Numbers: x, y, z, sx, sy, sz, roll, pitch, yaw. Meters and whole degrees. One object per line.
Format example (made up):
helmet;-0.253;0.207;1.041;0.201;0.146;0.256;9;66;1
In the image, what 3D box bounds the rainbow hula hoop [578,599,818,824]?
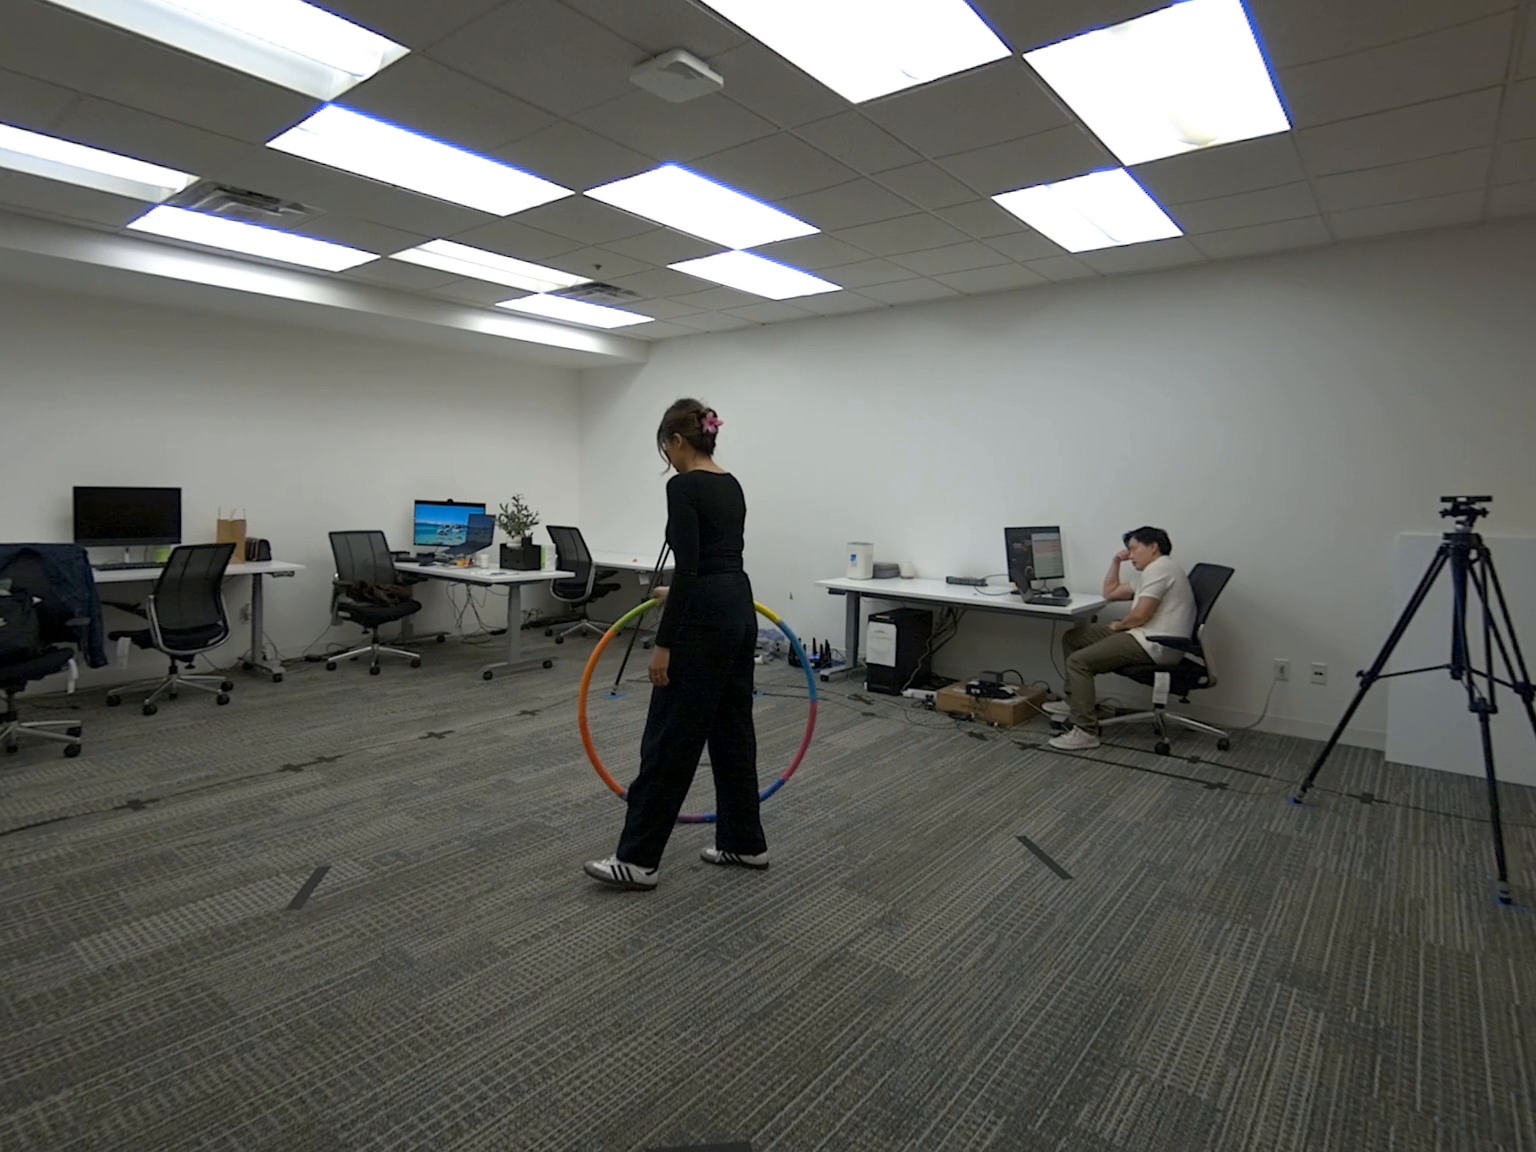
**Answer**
rainbow hula hoop;-0.294;0.542;3.504;0.970;0.974;0.036;0;4;-8
